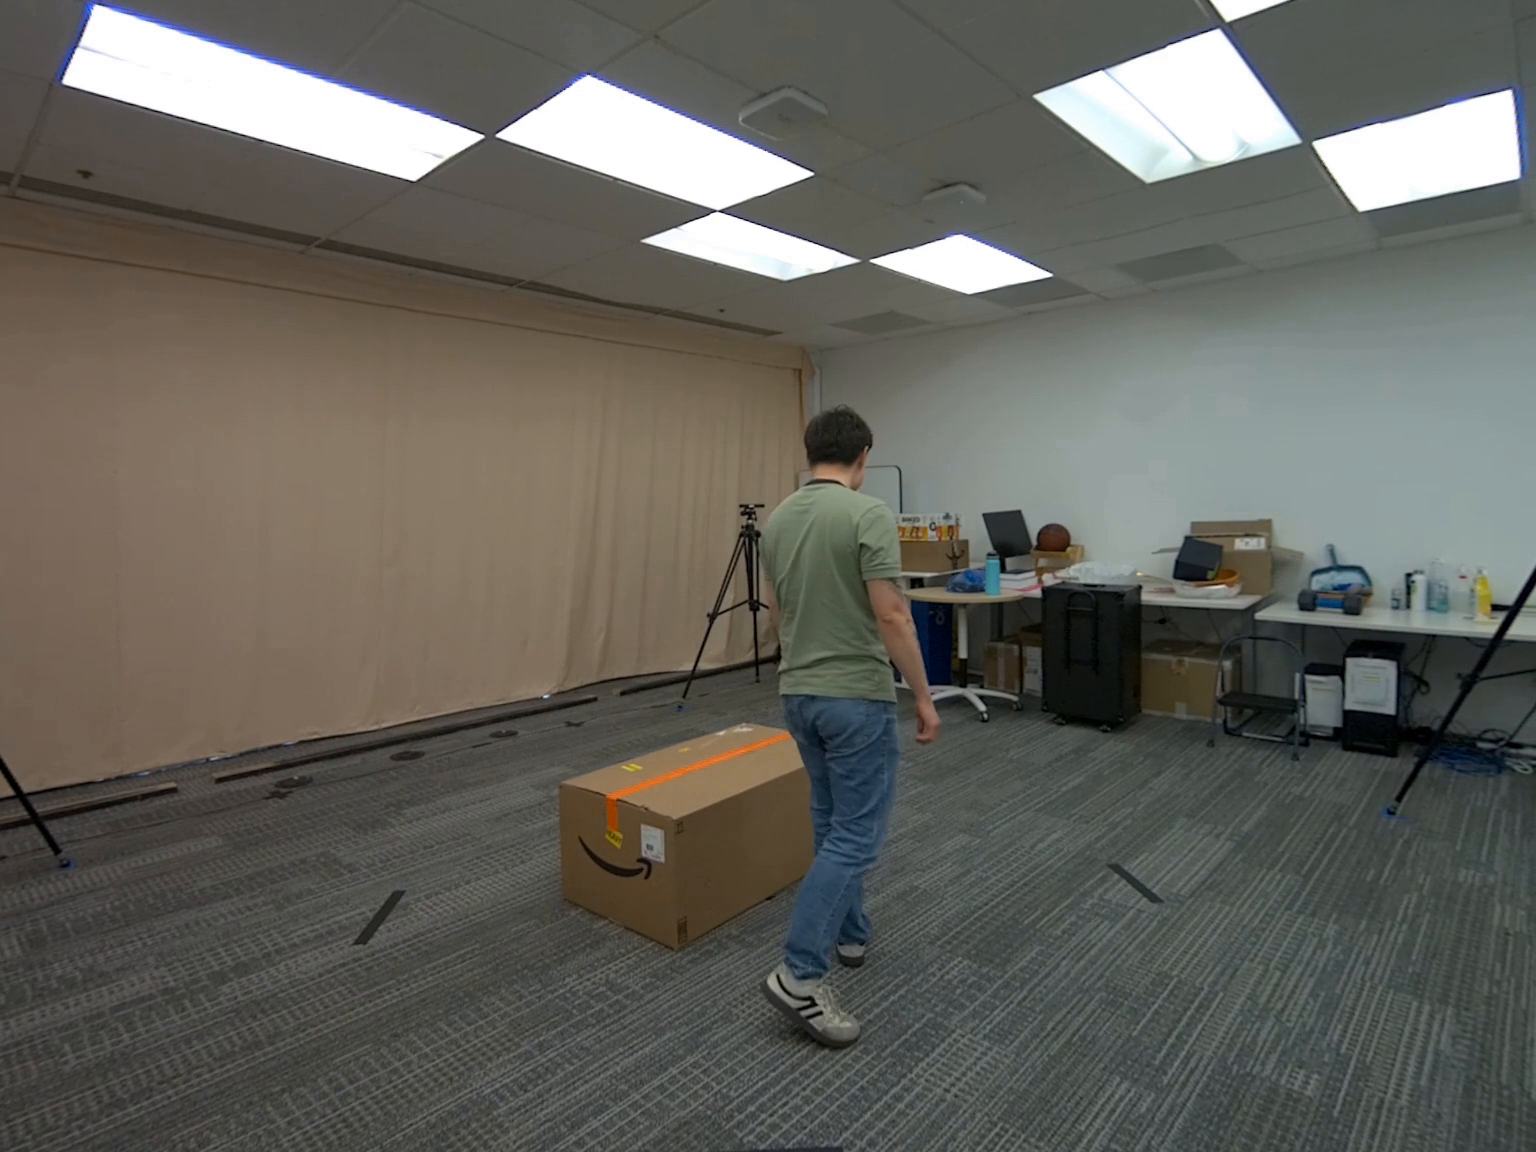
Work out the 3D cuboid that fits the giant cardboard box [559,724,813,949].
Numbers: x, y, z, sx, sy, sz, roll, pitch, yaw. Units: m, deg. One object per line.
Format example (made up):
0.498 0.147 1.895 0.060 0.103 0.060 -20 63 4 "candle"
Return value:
-0.195 0.912 3.186 0.596 0.425 0.995 2 5 40 "giant cardboard box"
